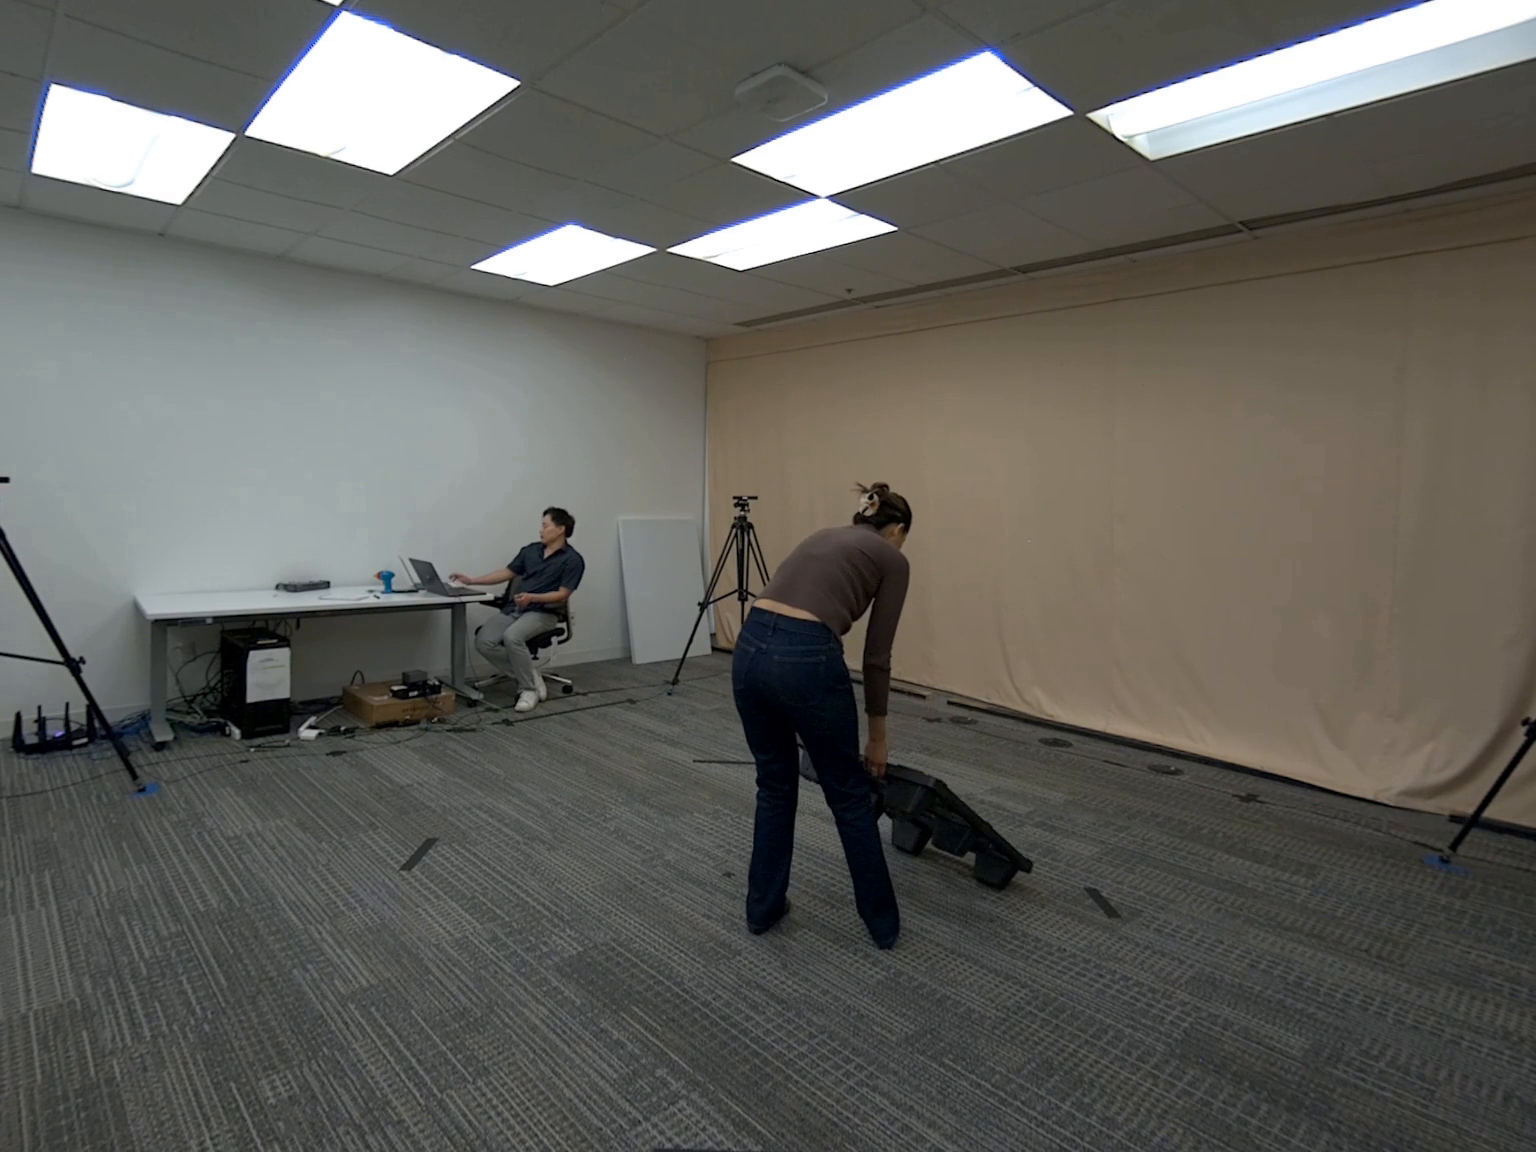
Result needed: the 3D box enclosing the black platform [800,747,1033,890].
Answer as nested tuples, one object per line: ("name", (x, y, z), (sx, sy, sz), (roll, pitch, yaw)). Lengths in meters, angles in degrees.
("black platform", (0.498, 0.861, 3.021), (0.621, 0.144, 0.781), (6, -30, 47))
